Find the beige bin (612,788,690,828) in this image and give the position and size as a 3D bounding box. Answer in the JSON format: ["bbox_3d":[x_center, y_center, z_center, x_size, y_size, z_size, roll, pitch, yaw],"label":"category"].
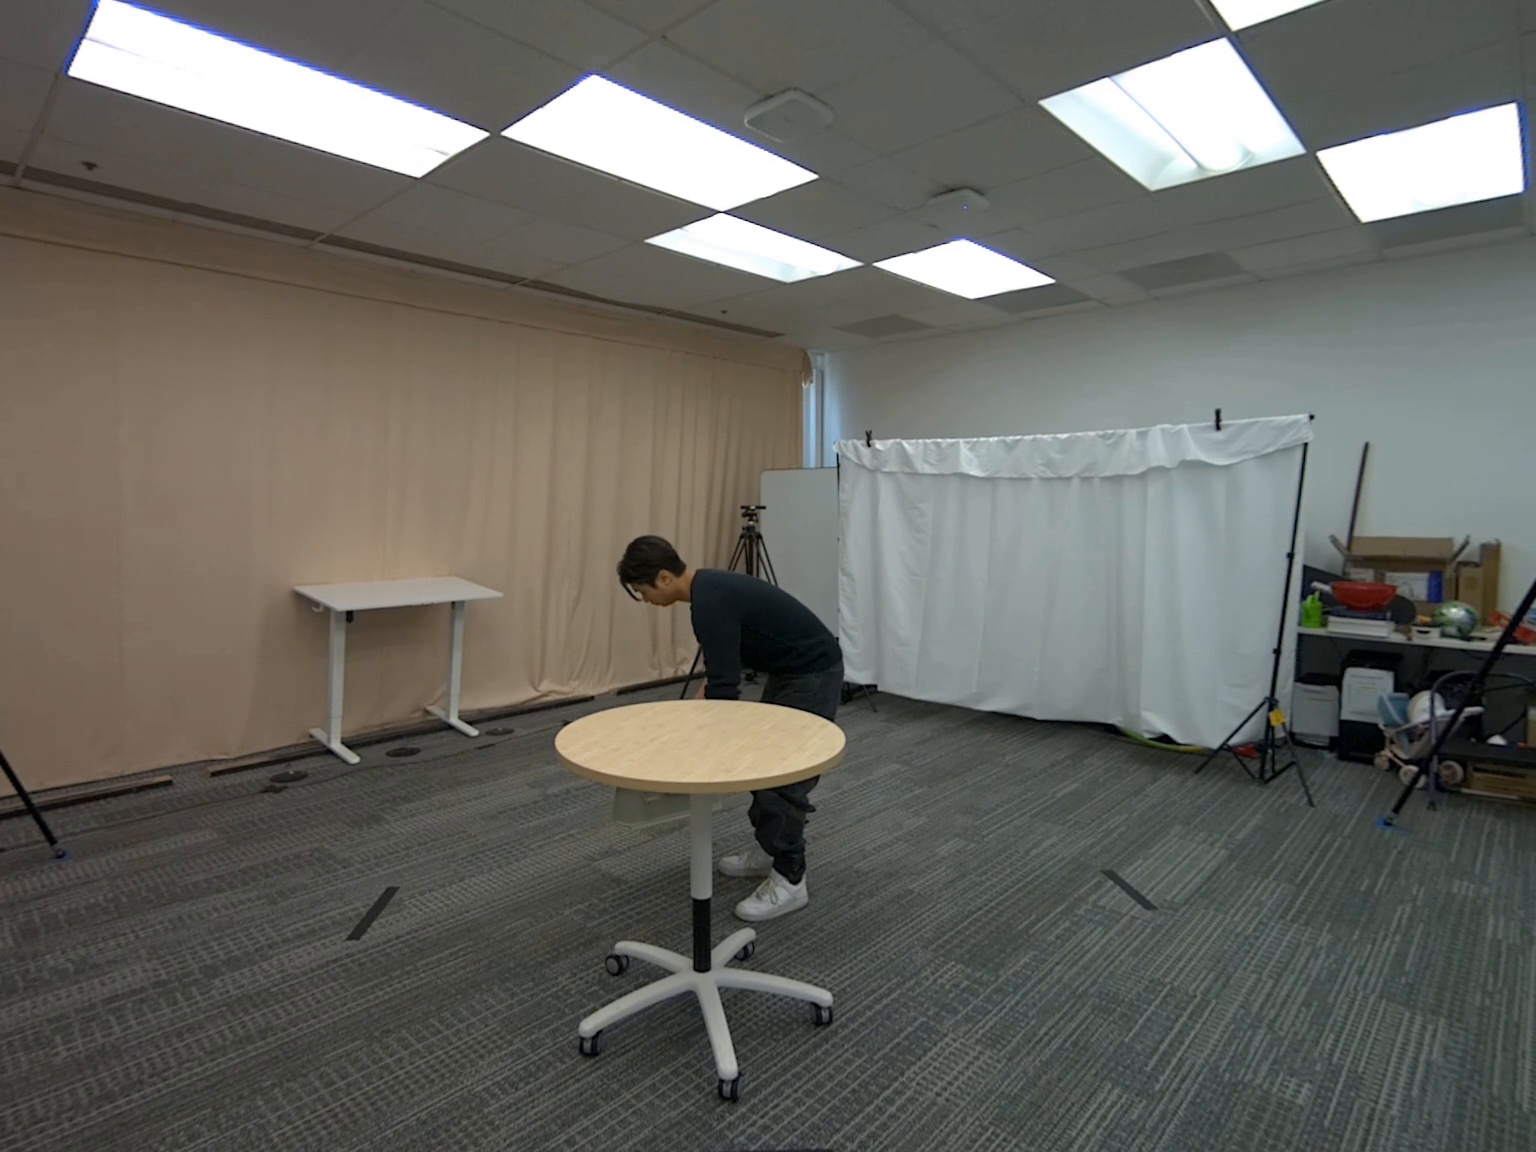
[{"bbox_3d":[-0.366,0.715,3.027,0.377,0.187,0.426,-12,10,-2],"label":"beige bin"}]
